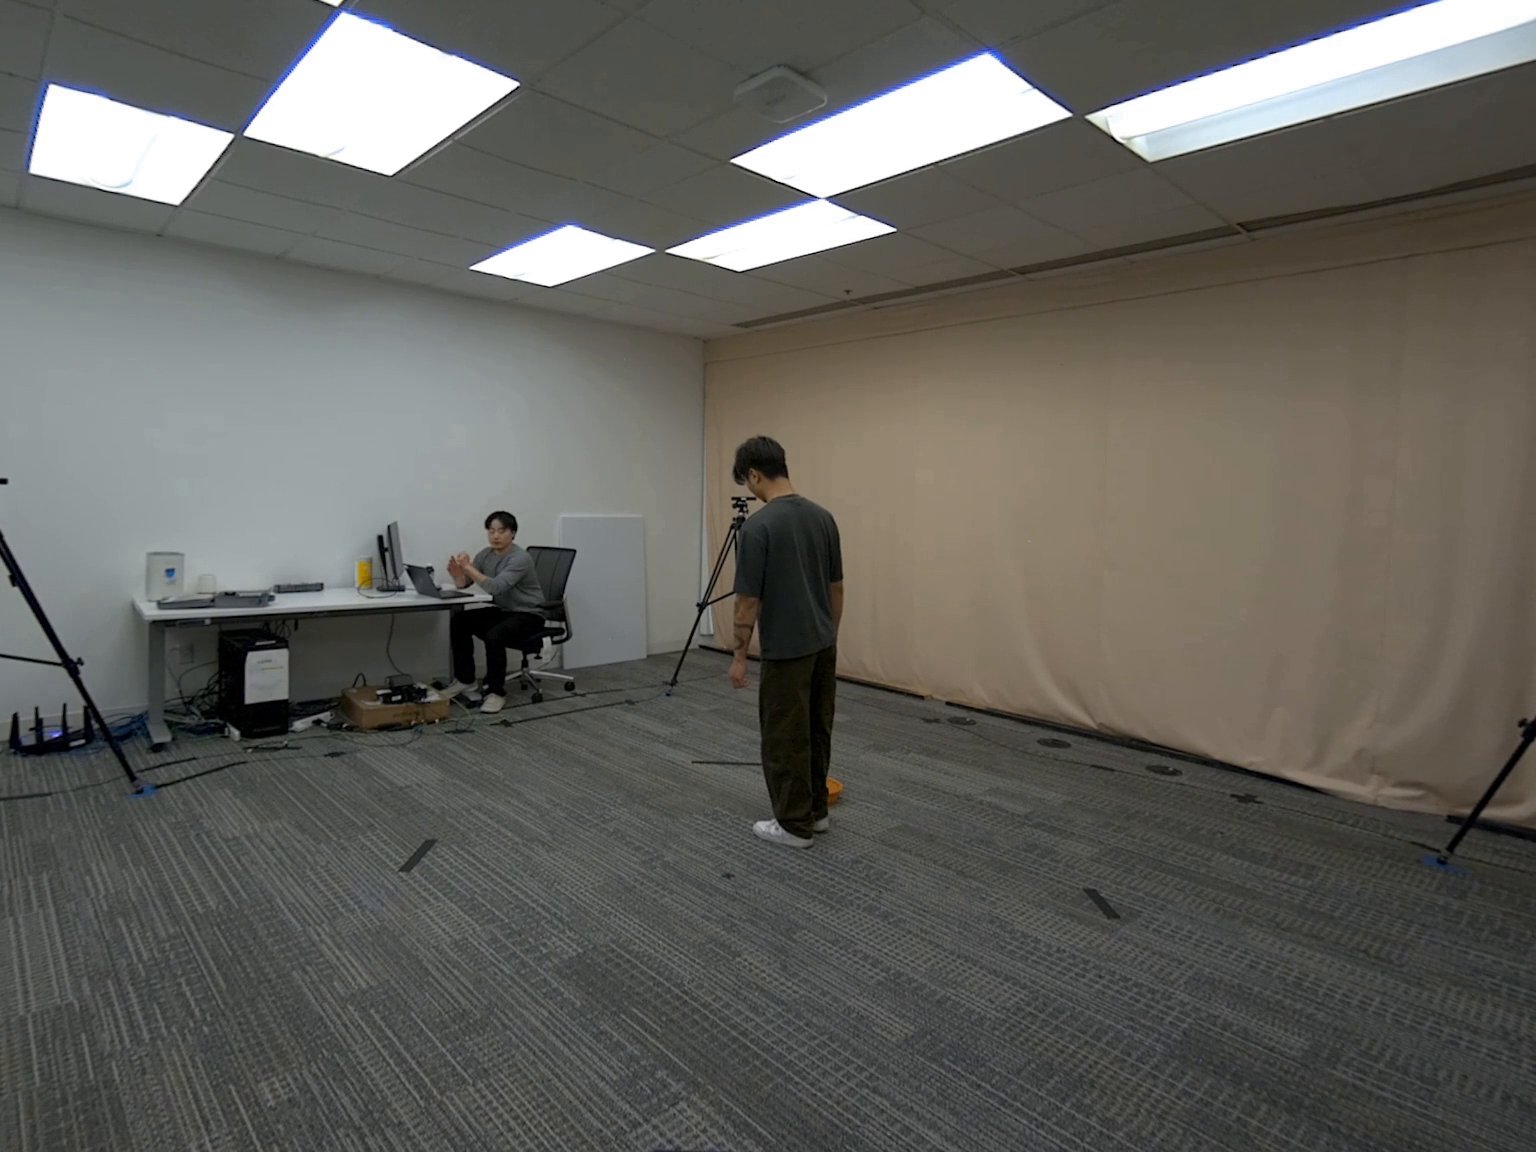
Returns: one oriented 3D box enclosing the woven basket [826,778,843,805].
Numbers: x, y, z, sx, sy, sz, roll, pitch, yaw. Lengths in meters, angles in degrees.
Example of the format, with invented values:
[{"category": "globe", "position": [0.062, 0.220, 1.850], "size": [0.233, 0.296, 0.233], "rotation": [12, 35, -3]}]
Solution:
[{"category": "woven basket", "position": [0.177, 1.008, 3.970], "size": [0.359, 0.073, 0.247], "rotation": [6, 6, 36]}]
